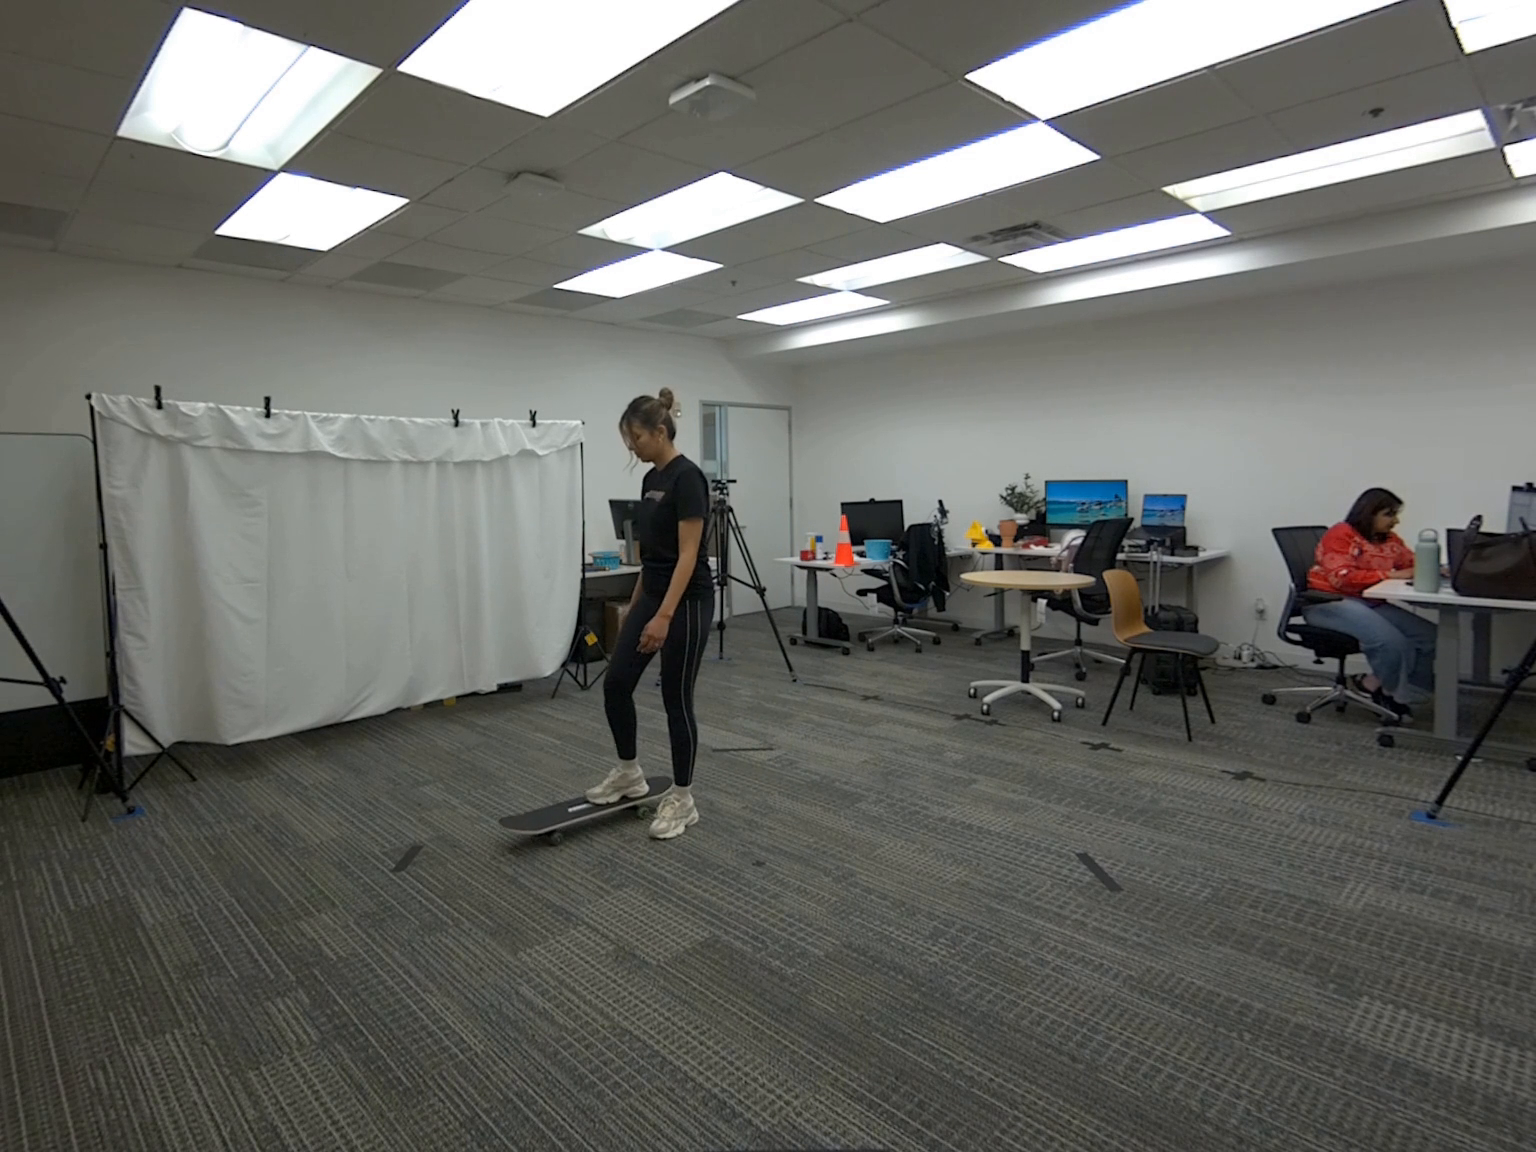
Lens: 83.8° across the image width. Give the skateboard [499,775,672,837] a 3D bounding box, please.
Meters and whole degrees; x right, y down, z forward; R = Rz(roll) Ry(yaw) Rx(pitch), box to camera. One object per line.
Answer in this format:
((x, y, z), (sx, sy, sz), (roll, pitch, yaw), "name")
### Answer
((-0.723, 0.966, 3.485), (0.765, 0.110, 0.199), (-6, 7, -39), "skateboard")
